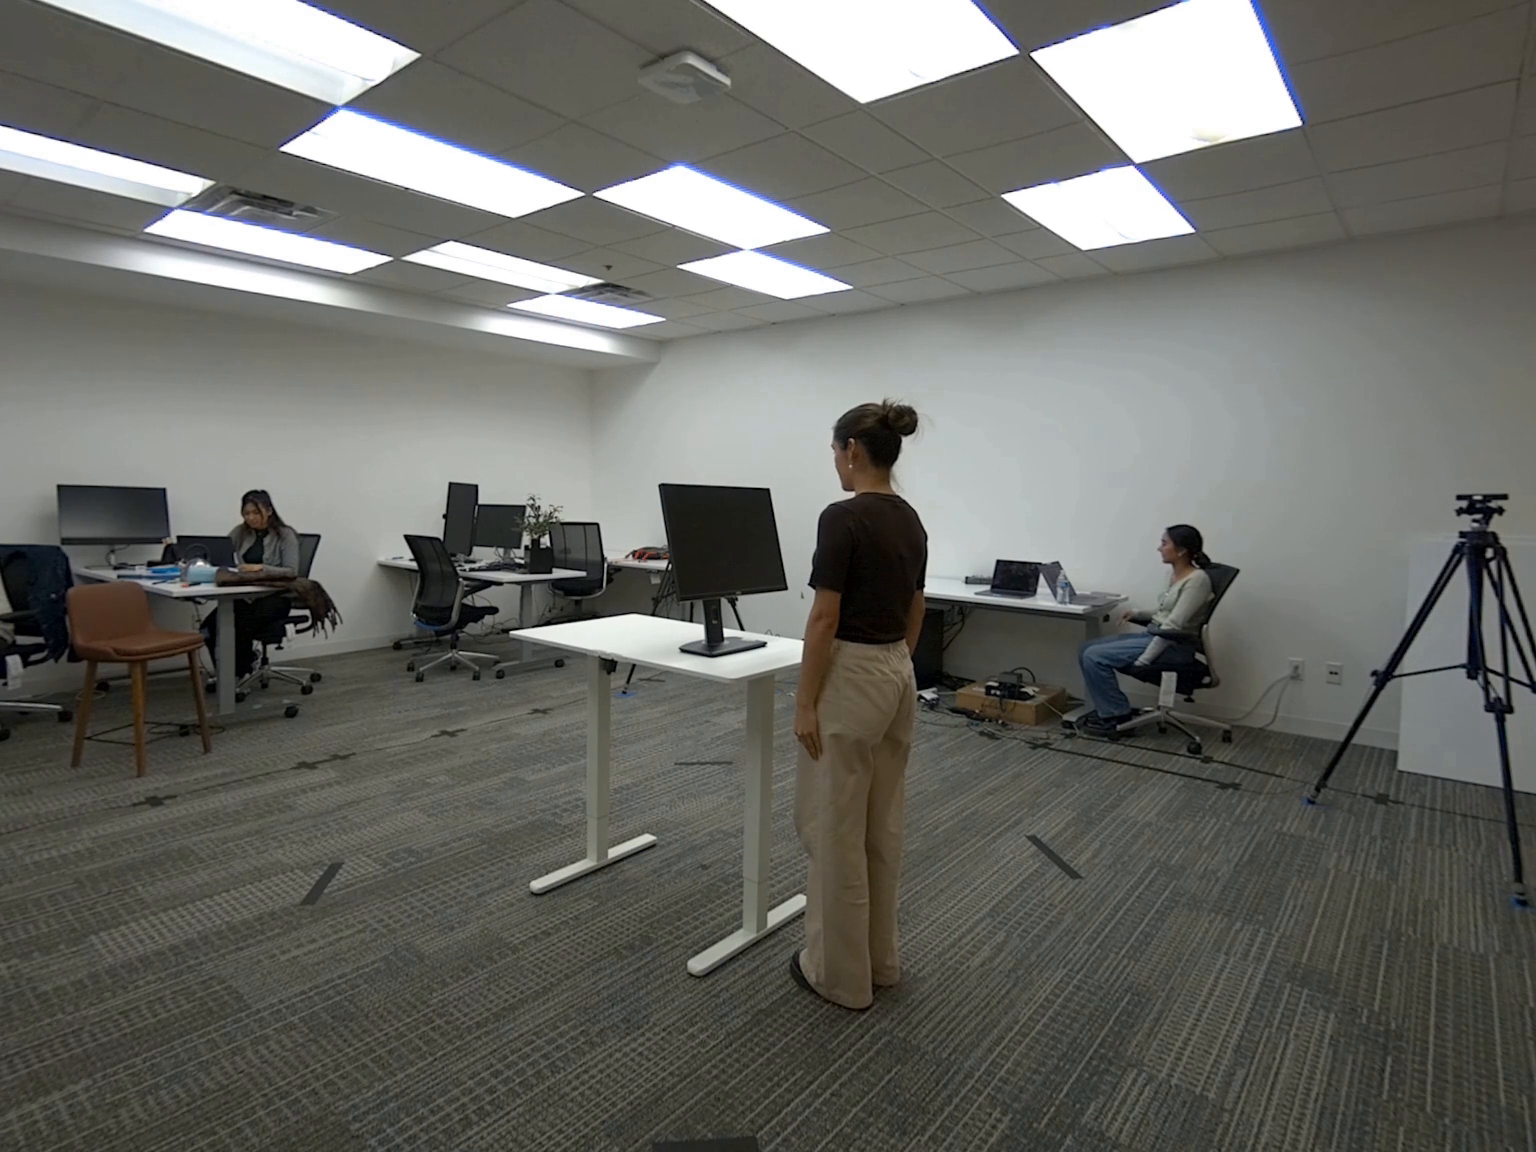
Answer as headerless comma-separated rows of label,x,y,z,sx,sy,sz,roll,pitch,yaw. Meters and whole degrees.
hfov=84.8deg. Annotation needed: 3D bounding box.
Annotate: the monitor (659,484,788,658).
monitor,-0.159,-0.024,2.686,0.193,0.522,0.523,0,2,36
